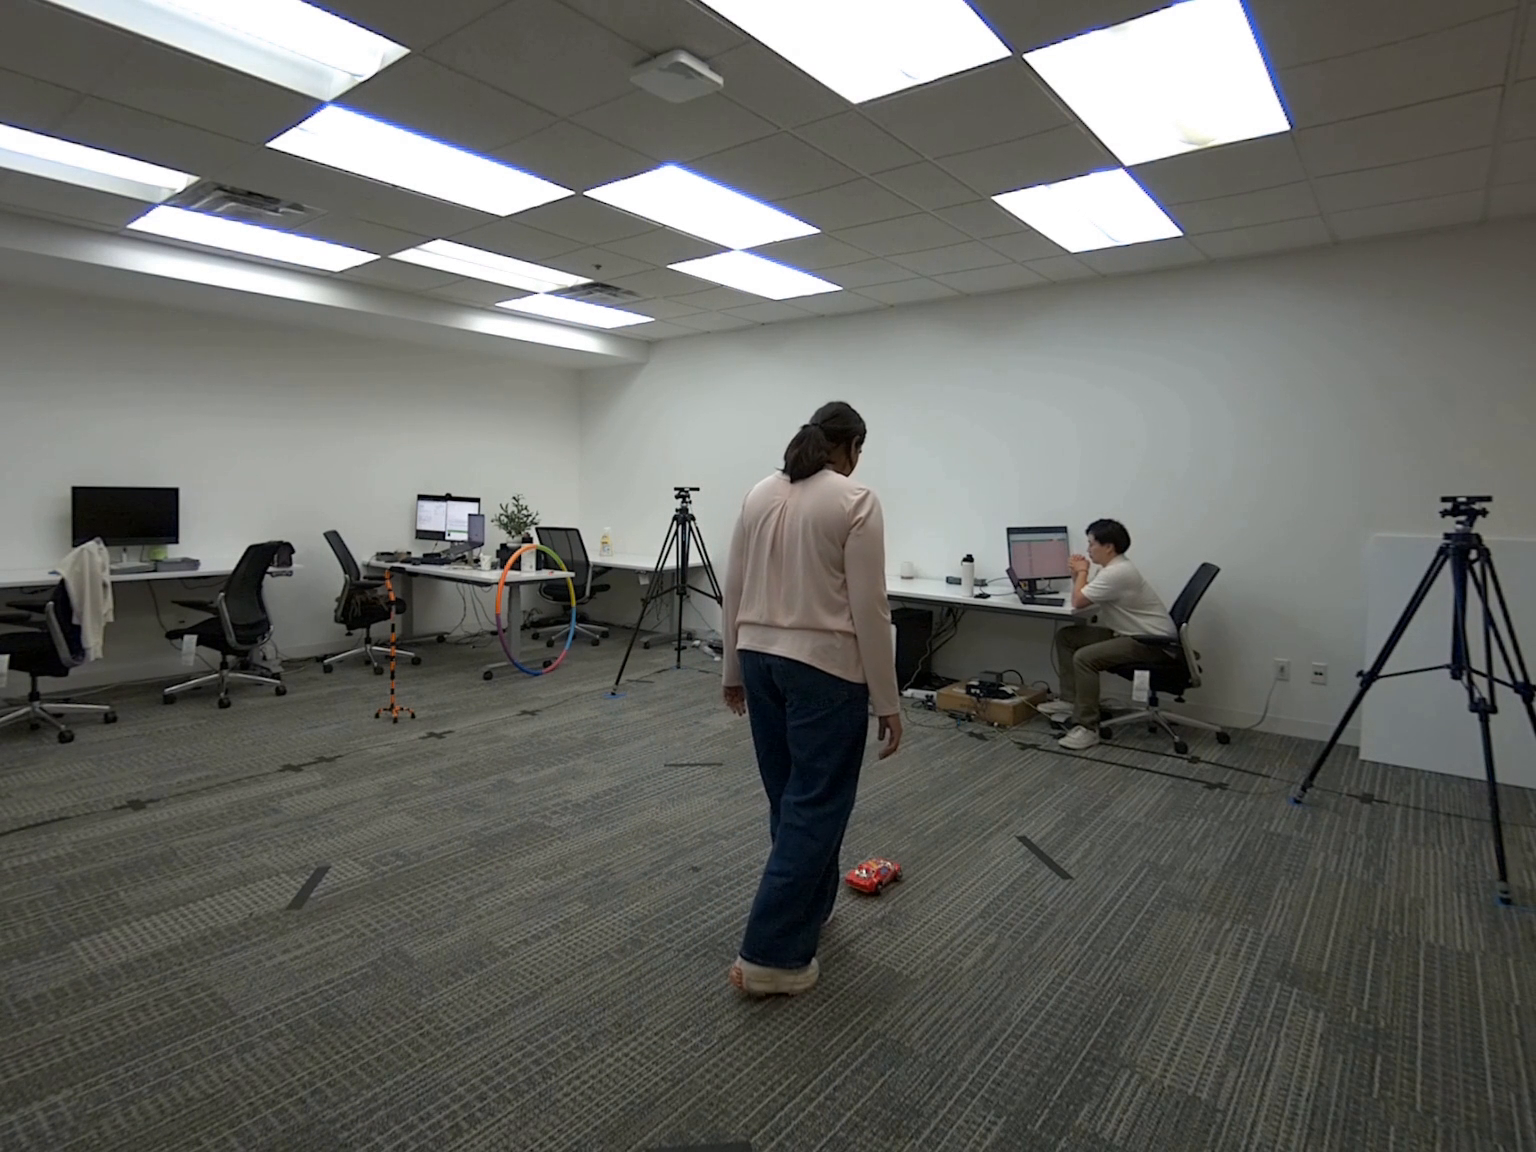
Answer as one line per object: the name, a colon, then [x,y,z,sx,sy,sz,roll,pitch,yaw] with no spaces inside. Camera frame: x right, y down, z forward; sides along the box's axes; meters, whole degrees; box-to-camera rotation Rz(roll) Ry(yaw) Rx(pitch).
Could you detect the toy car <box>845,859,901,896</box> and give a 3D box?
toy car: [0.363,1.053,3.003,0.135,0.083,0.245,7,-3,39]
